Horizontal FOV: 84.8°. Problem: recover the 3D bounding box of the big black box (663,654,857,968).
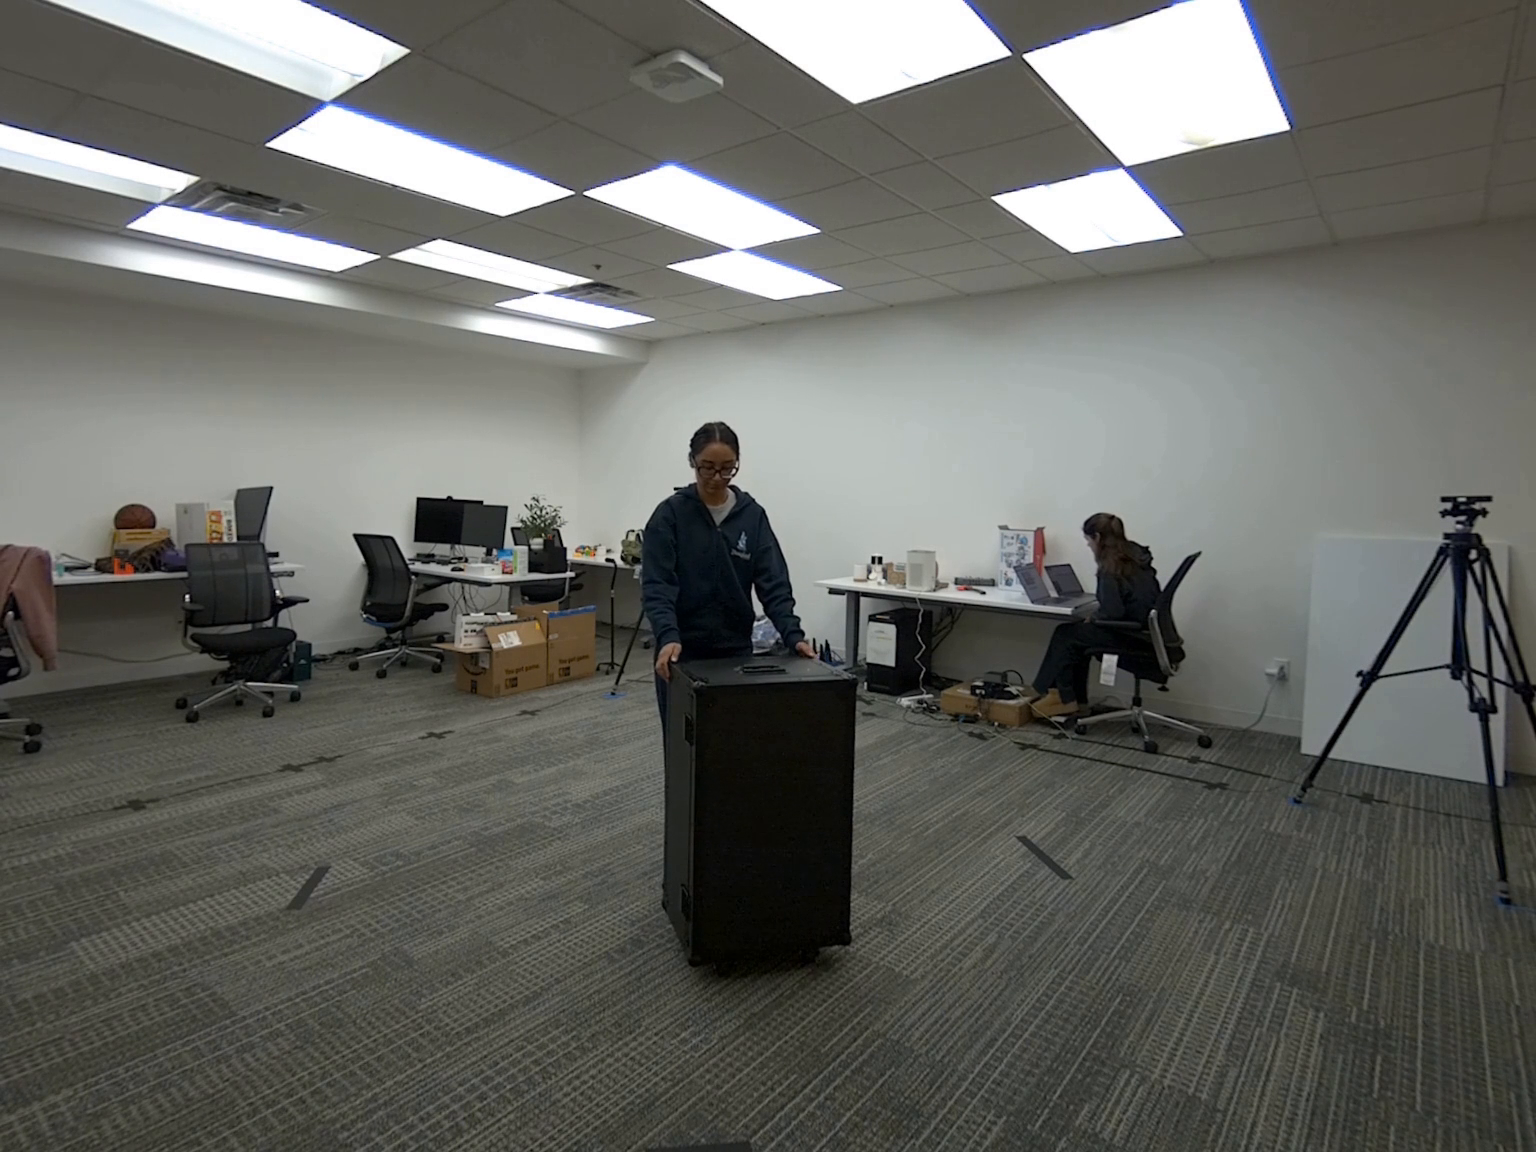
[{"bbox_3d":[-0.055,0.696,2.560,0.511,0.860,0.404,-1,2,-19],"label":"big black box"}]
